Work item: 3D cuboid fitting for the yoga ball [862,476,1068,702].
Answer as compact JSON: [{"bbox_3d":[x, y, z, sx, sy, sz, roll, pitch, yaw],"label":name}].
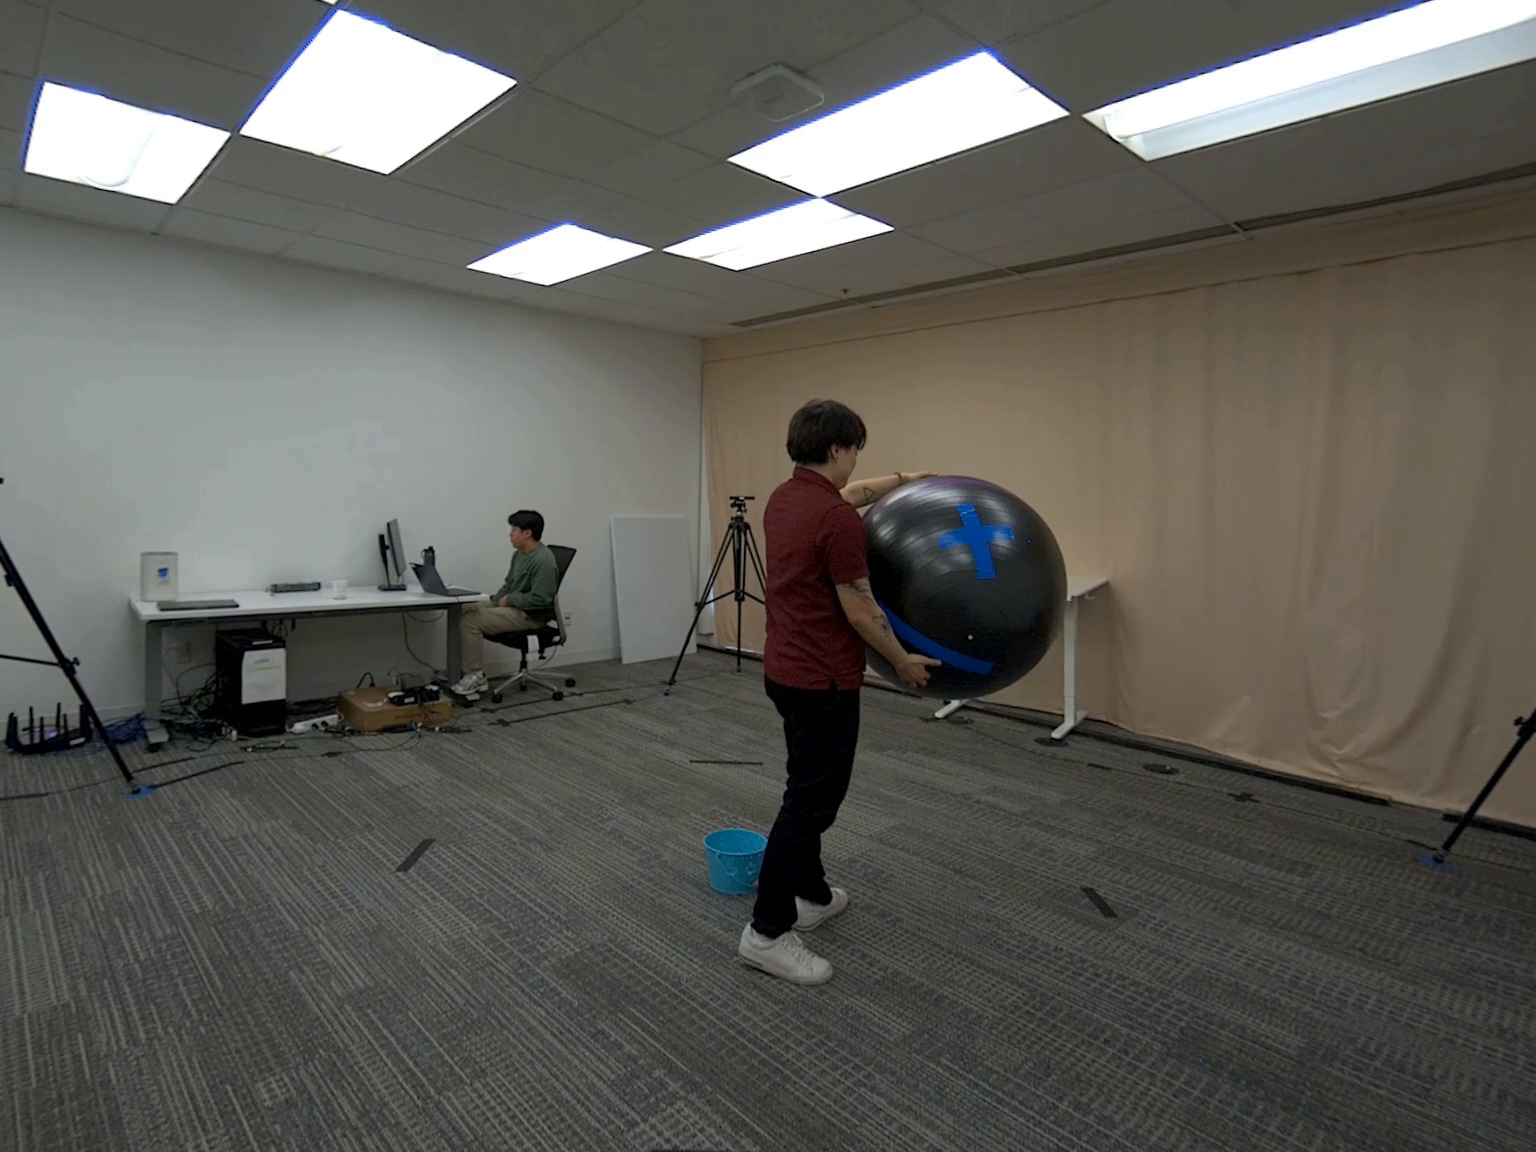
[{"bbox_3d":[0.615,0.046,2.869,0.757,0.756,0.761,1,4,-1],"label":"yoga ball"}]
